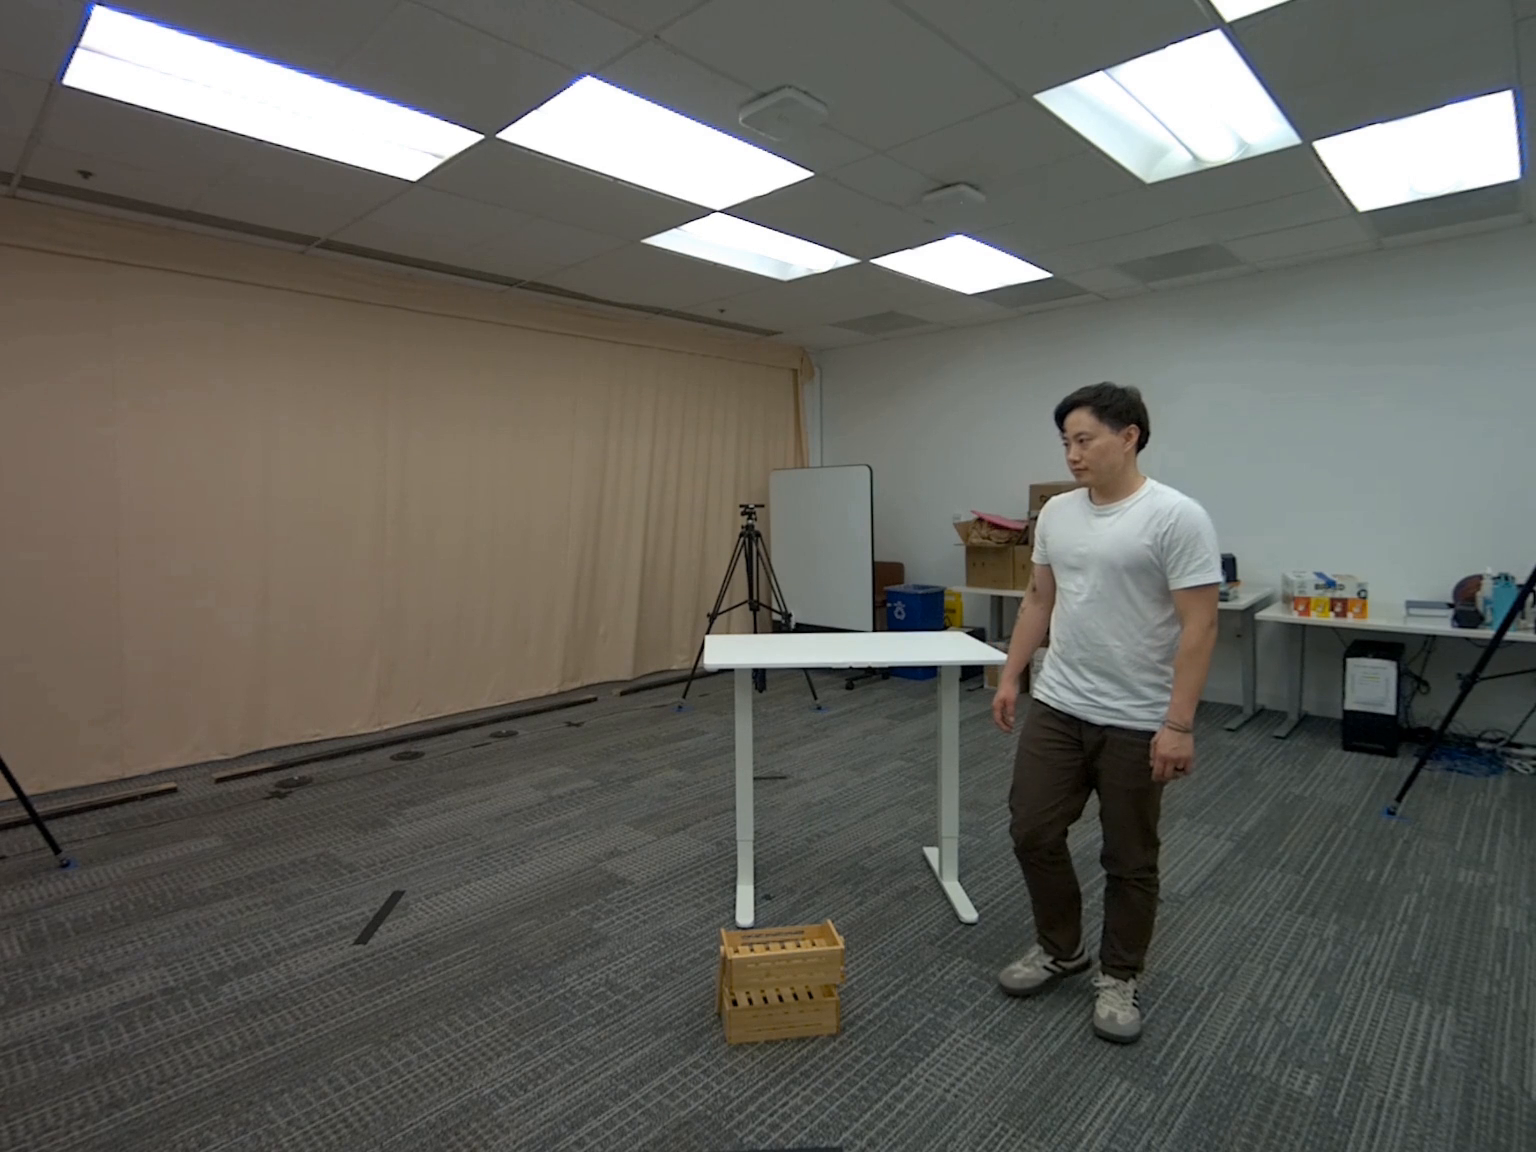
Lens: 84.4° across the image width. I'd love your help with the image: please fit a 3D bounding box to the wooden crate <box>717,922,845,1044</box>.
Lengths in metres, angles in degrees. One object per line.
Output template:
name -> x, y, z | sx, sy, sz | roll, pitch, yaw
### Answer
wooden crate -> 0.025, 1.063, 2.286 | 0.321, 0.272, 0.306 | -1, 4, -9
